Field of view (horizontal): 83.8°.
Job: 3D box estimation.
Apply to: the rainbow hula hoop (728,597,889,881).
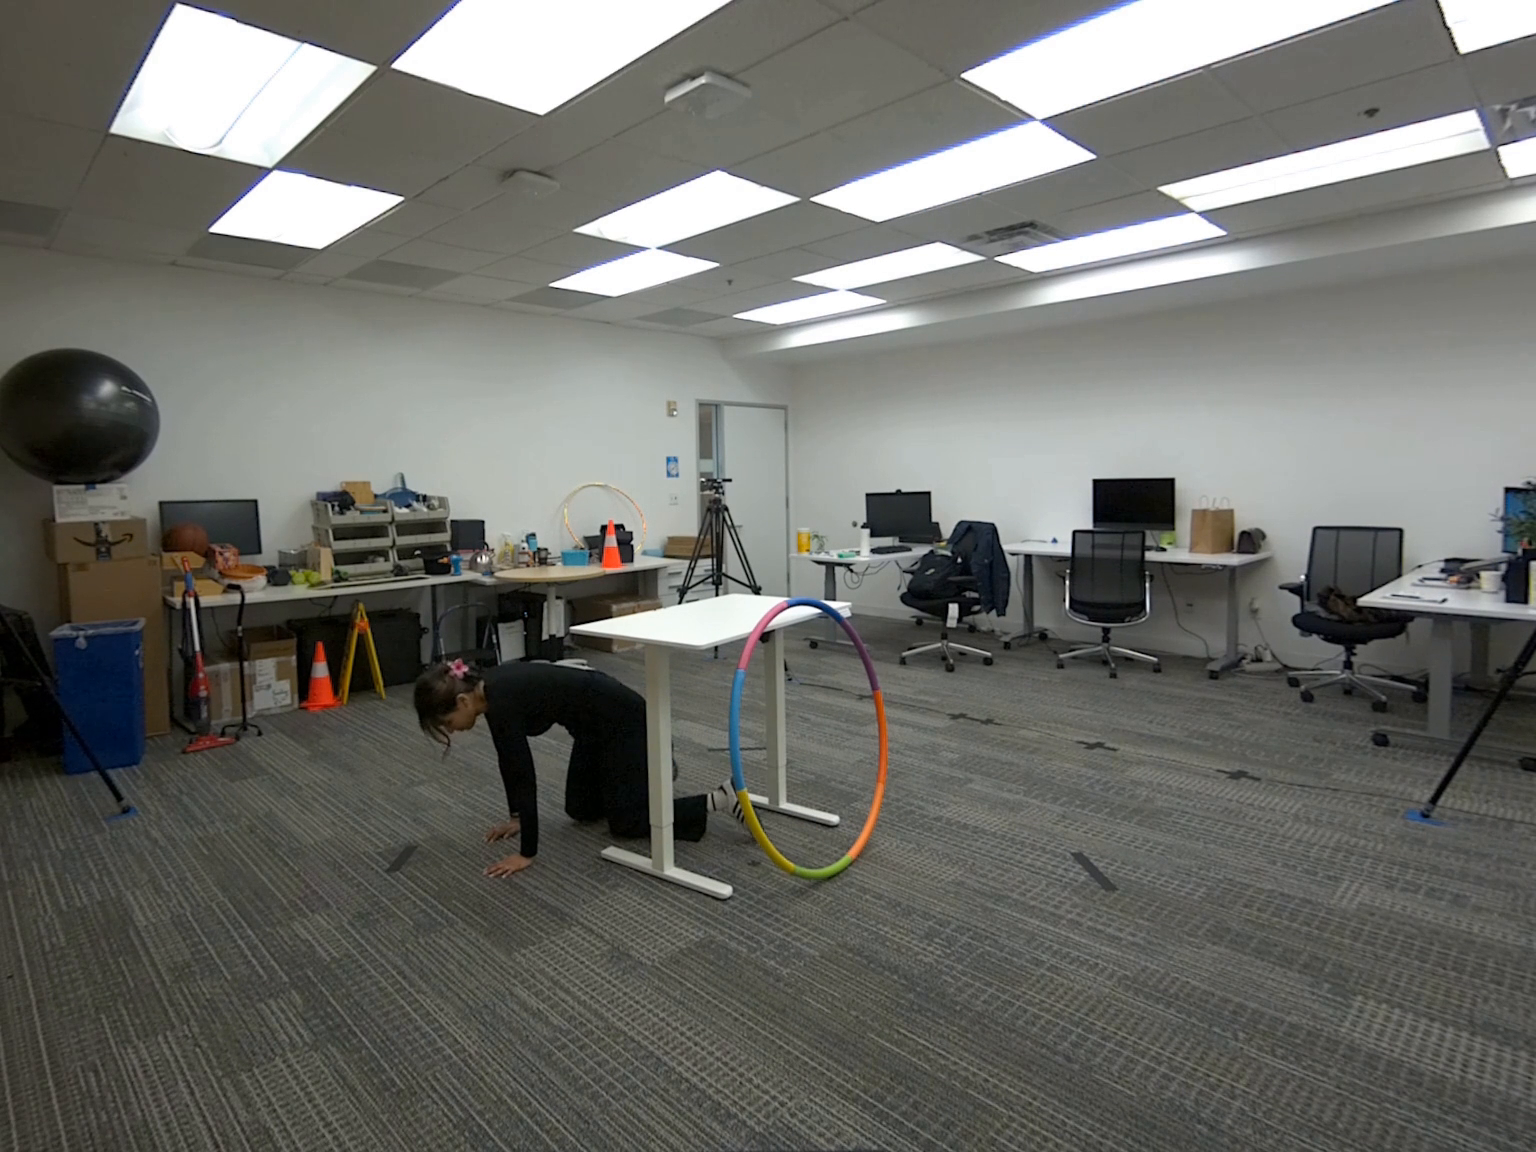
[{"bbox_3d":[0.174,0.561,3.067,0.036,0.982,0.955,-13,-3,36],"label":"rainbow hula hoop"}]
